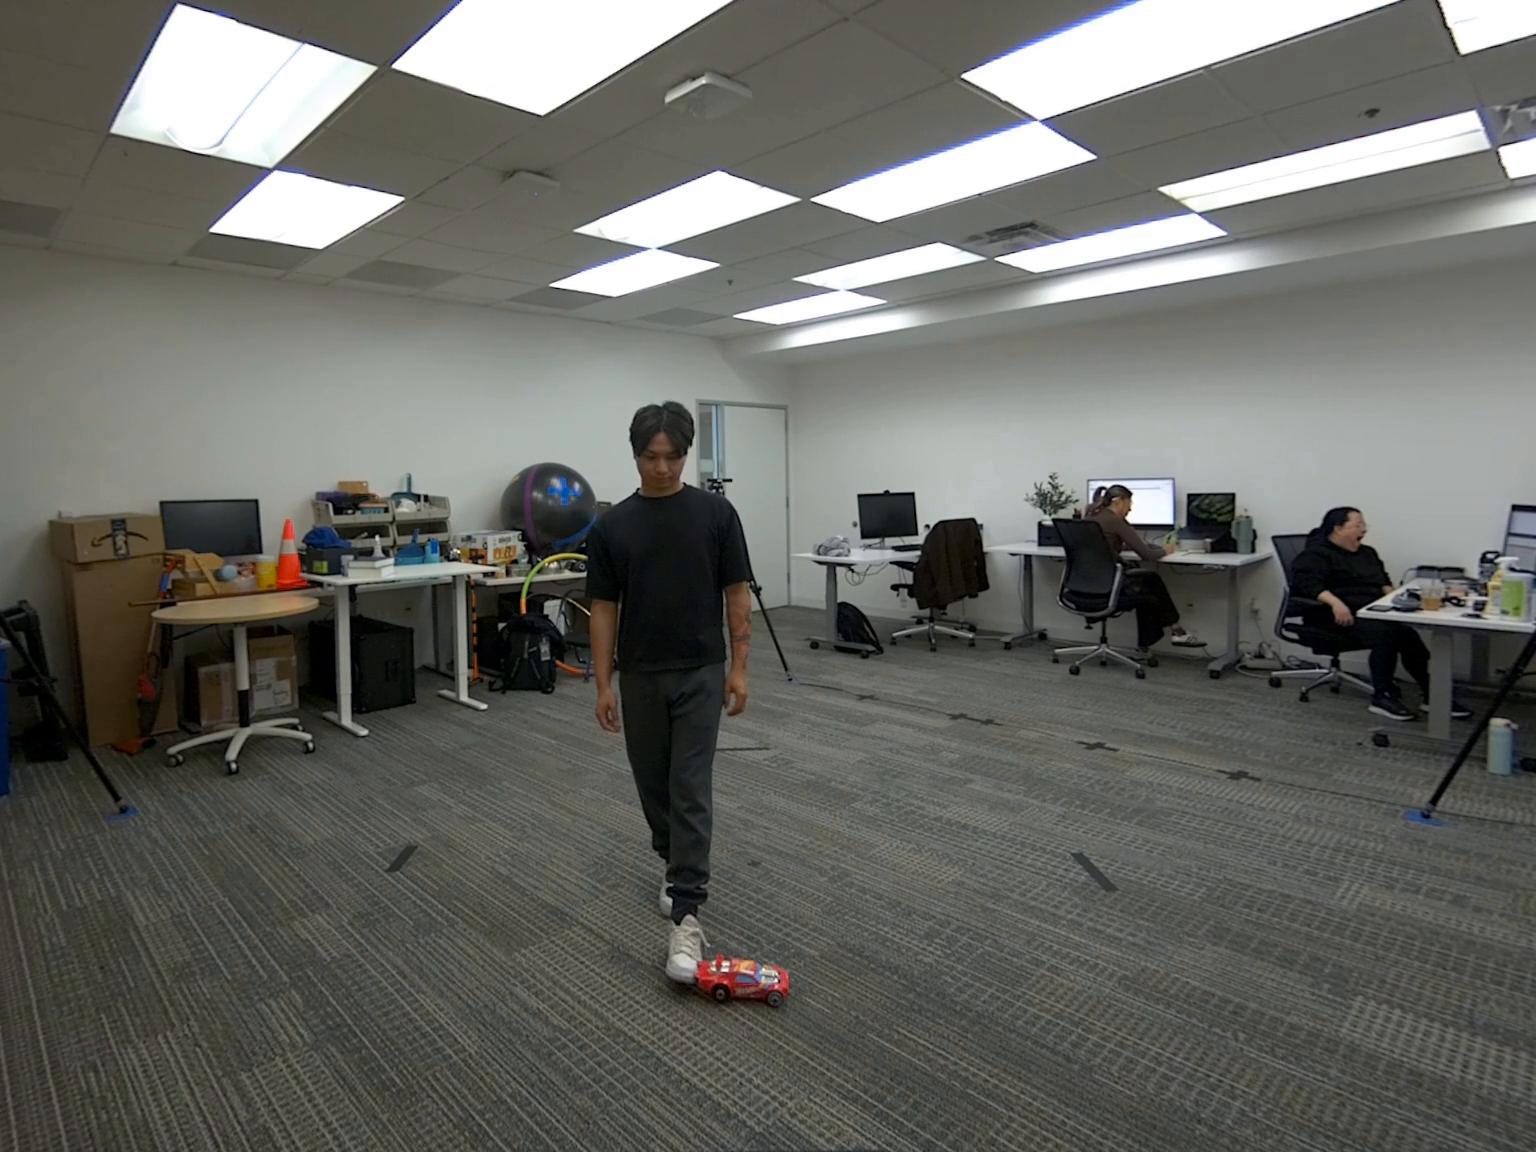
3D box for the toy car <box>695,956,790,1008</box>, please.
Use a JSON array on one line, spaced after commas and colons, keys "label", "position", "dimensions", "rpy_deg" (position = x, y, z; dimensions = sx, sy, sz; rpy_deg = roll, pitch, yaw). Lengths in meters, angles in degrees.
[{"label": "toy car", "position": [-0.065, 1.097, 2.328], "dimensions": [0.255, 0.083, 0.130], "rpy_deg": [12, 5, 2]}]
